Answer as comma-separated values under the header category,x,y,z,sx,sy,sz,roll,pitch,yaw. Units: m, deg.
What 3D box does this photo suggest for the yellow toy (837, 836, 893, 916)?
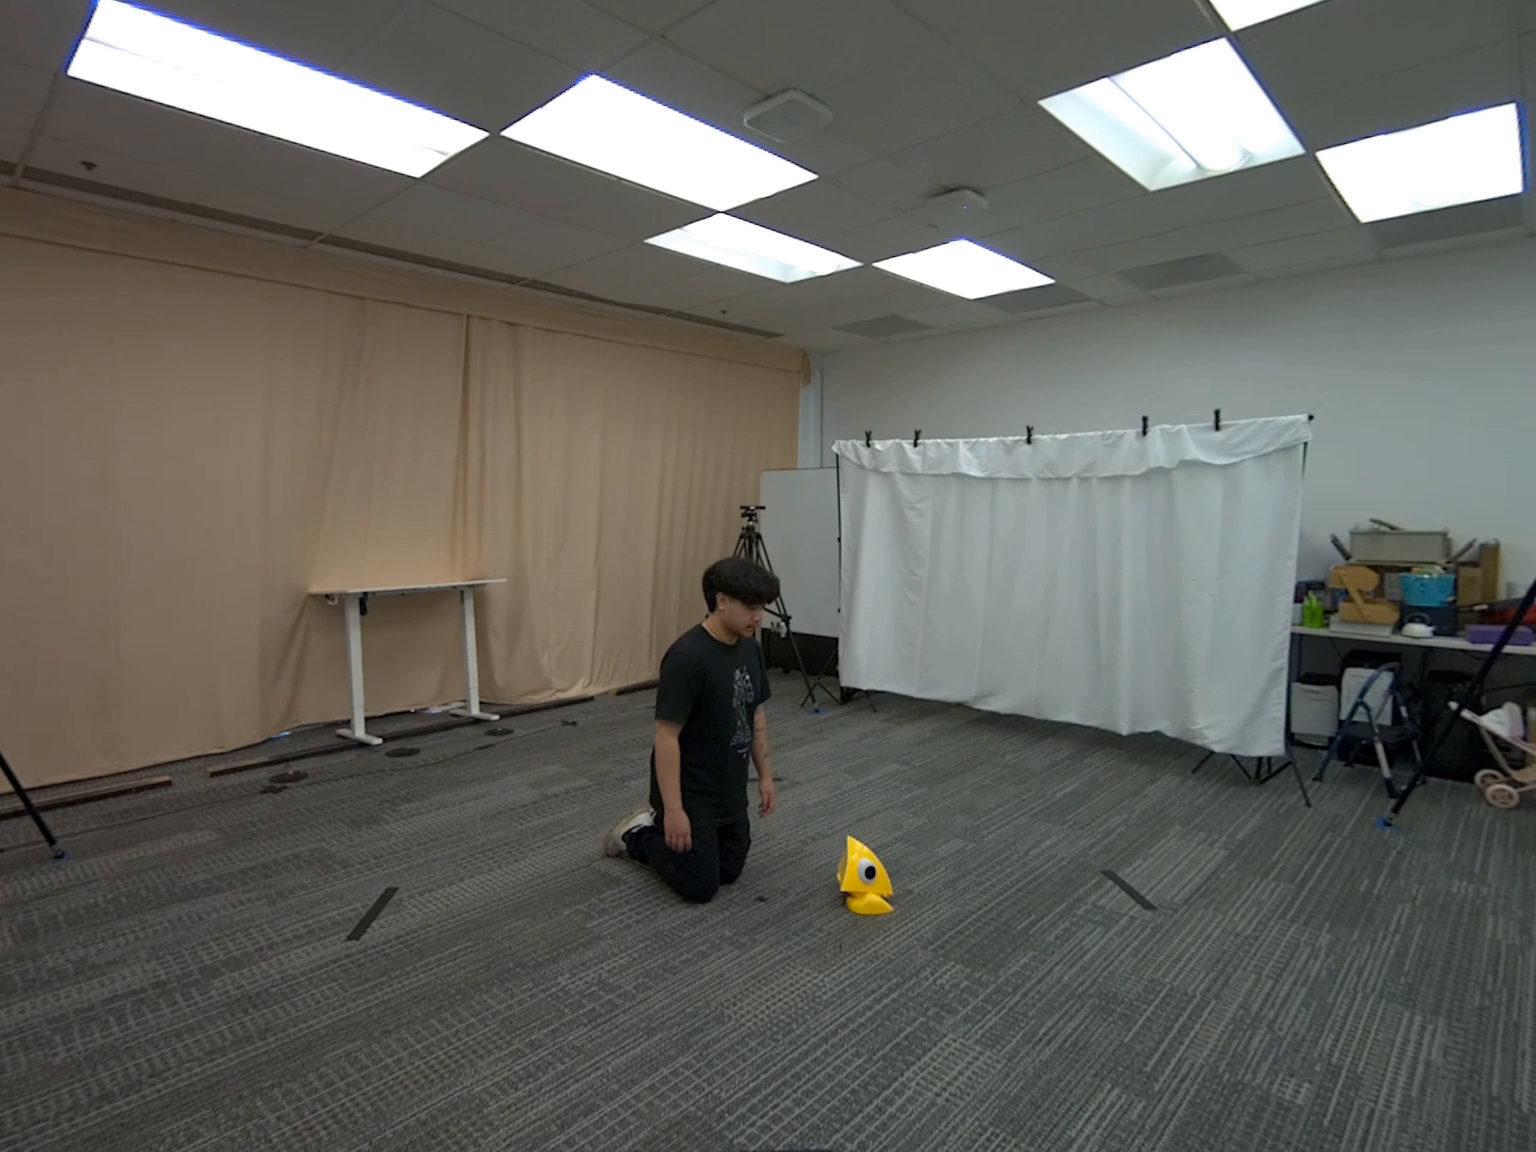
category,x,y,z,sx,sy,sz,roll,pitch,yaw
yellow toy,0.348,1.032,2.957,0.194,0.230,0.204,-1,3,3
